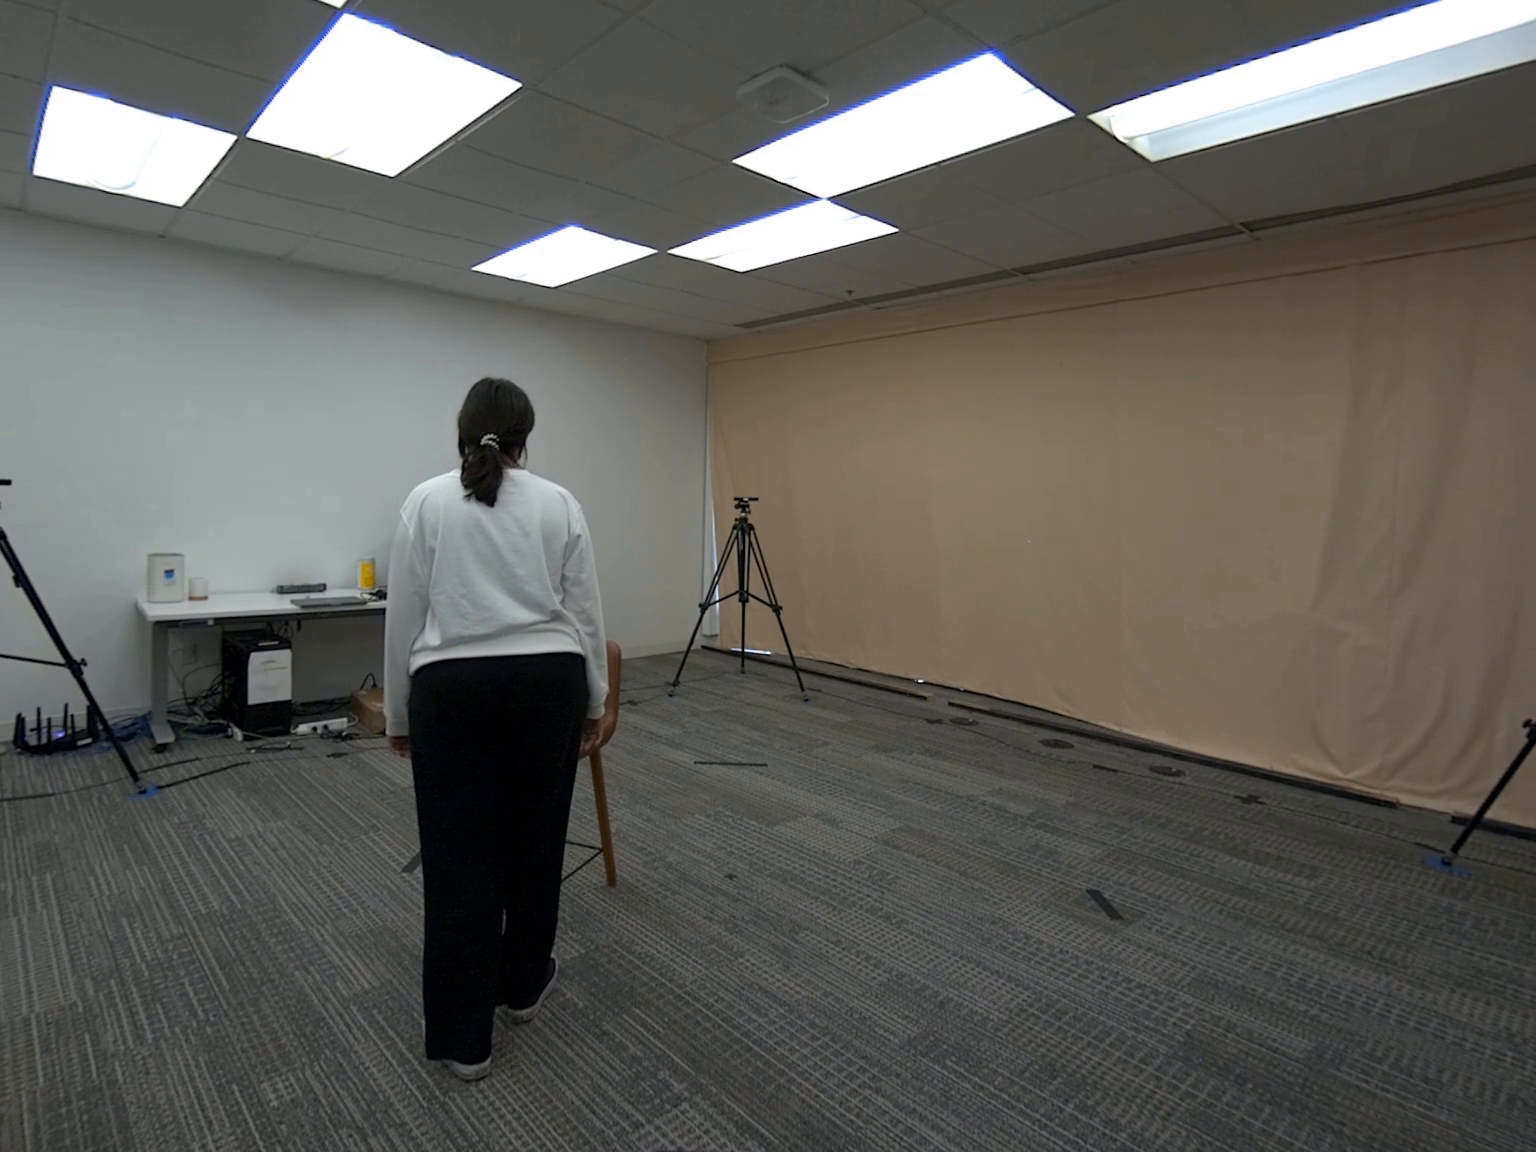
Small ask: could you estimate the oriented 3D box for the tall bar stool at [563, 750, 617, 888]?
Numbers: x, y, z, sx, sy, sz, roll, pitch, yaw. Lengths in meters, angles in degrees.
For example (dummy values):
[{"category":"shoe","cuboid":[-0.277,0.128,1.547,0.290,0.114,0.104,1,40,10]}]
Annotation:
[{"category":"tall bar stool","cuboid":[-0.786,0.684,2.865,0.465,0.888,0.460,3,2,23]}]
